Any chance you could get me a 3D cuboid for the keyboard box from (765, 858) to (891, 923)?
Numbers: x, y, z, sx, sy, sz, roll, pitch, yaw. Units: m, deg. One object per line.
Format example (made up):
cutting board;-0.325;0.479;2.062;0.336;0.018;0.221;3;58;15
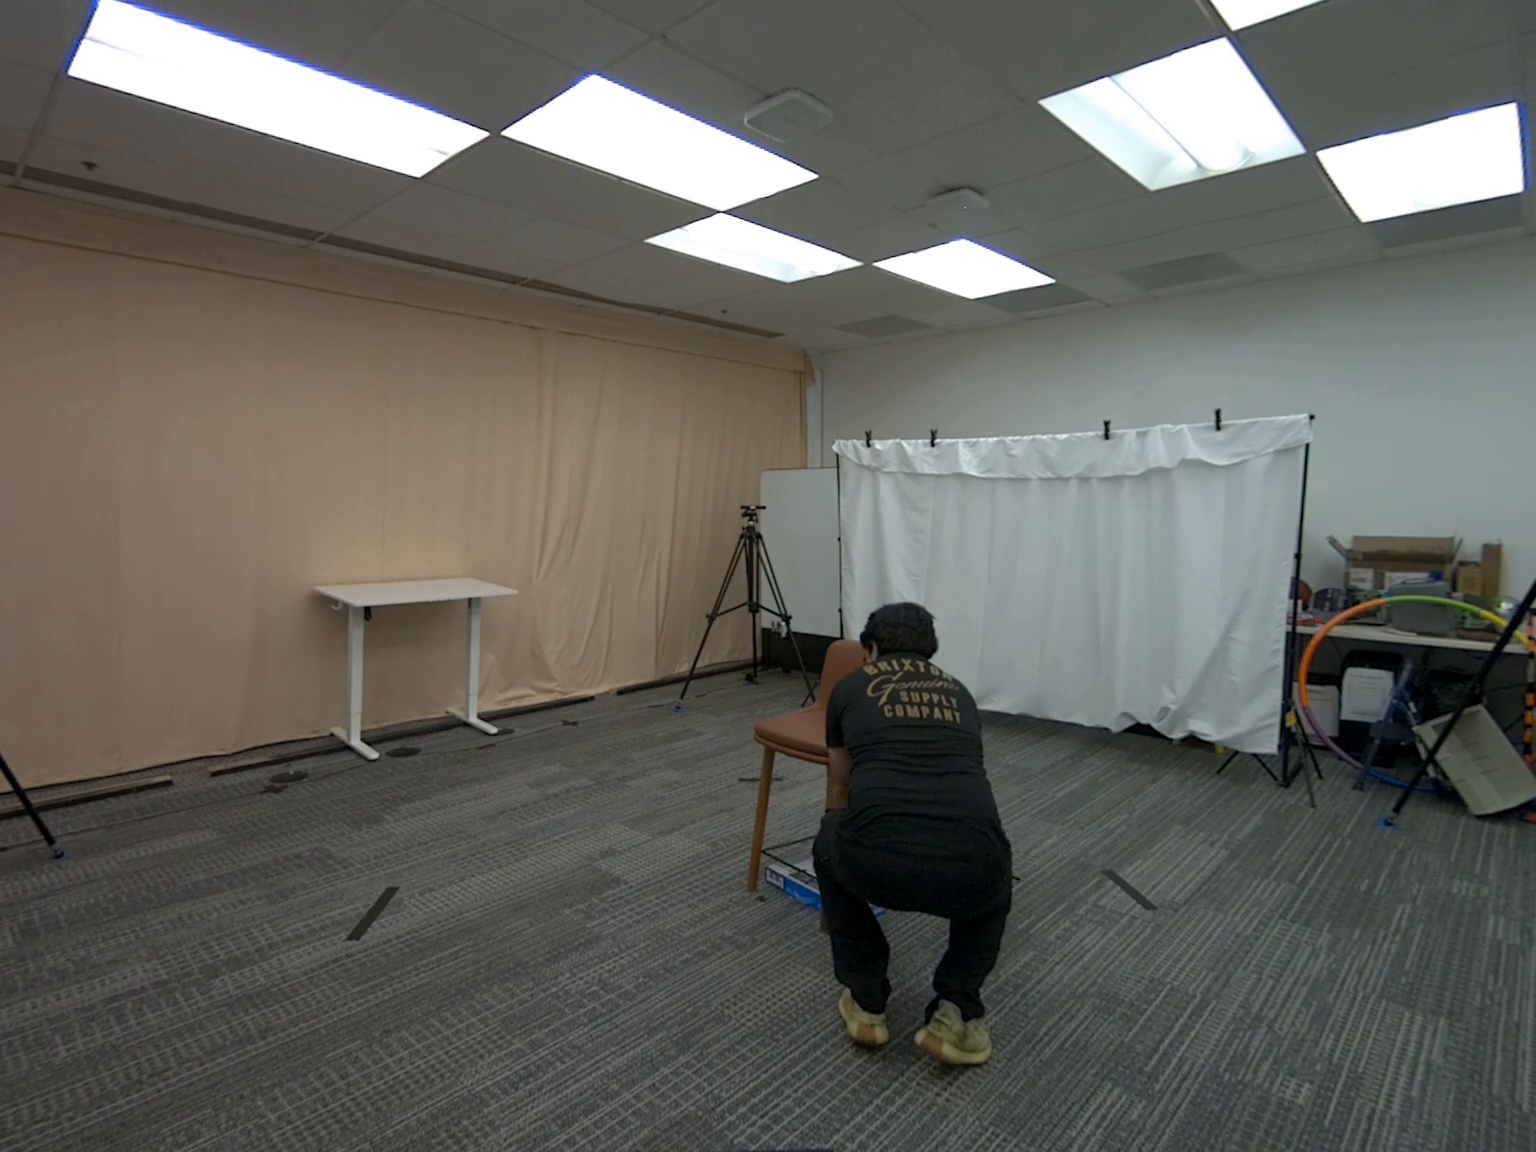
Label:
keyboard box;0.203;1.116;2.987;0.170;0.059;0.451;-3;5;-40
